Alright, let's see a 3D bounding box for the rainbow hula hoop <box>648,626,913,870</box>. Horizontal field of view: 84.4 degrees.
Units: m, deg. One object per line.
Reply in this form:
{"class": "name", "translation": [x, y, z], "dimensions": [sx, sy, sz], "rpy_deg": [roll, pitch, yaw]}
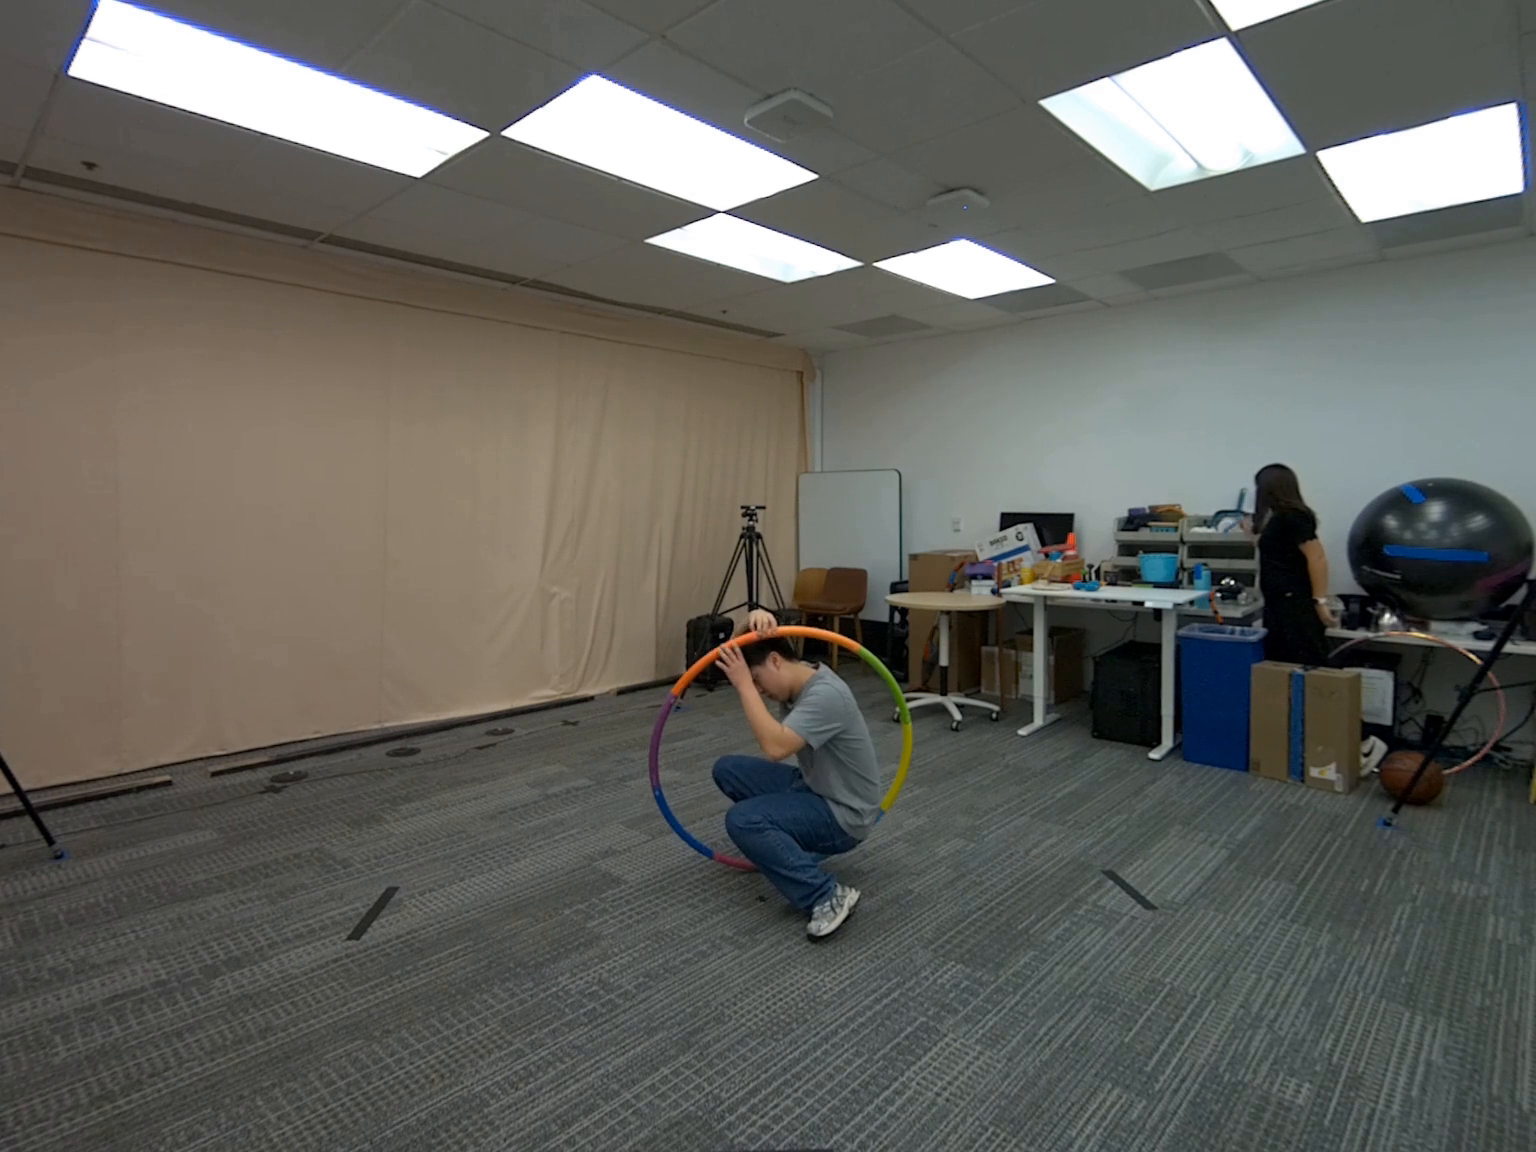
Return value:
{"class": "rainbow hula hoop", "translation": [0.063, 0.653, 3.102], "dimensions": [0.970, 0.970, 0.036], "rpy_deg": [0, 15, -8]}
